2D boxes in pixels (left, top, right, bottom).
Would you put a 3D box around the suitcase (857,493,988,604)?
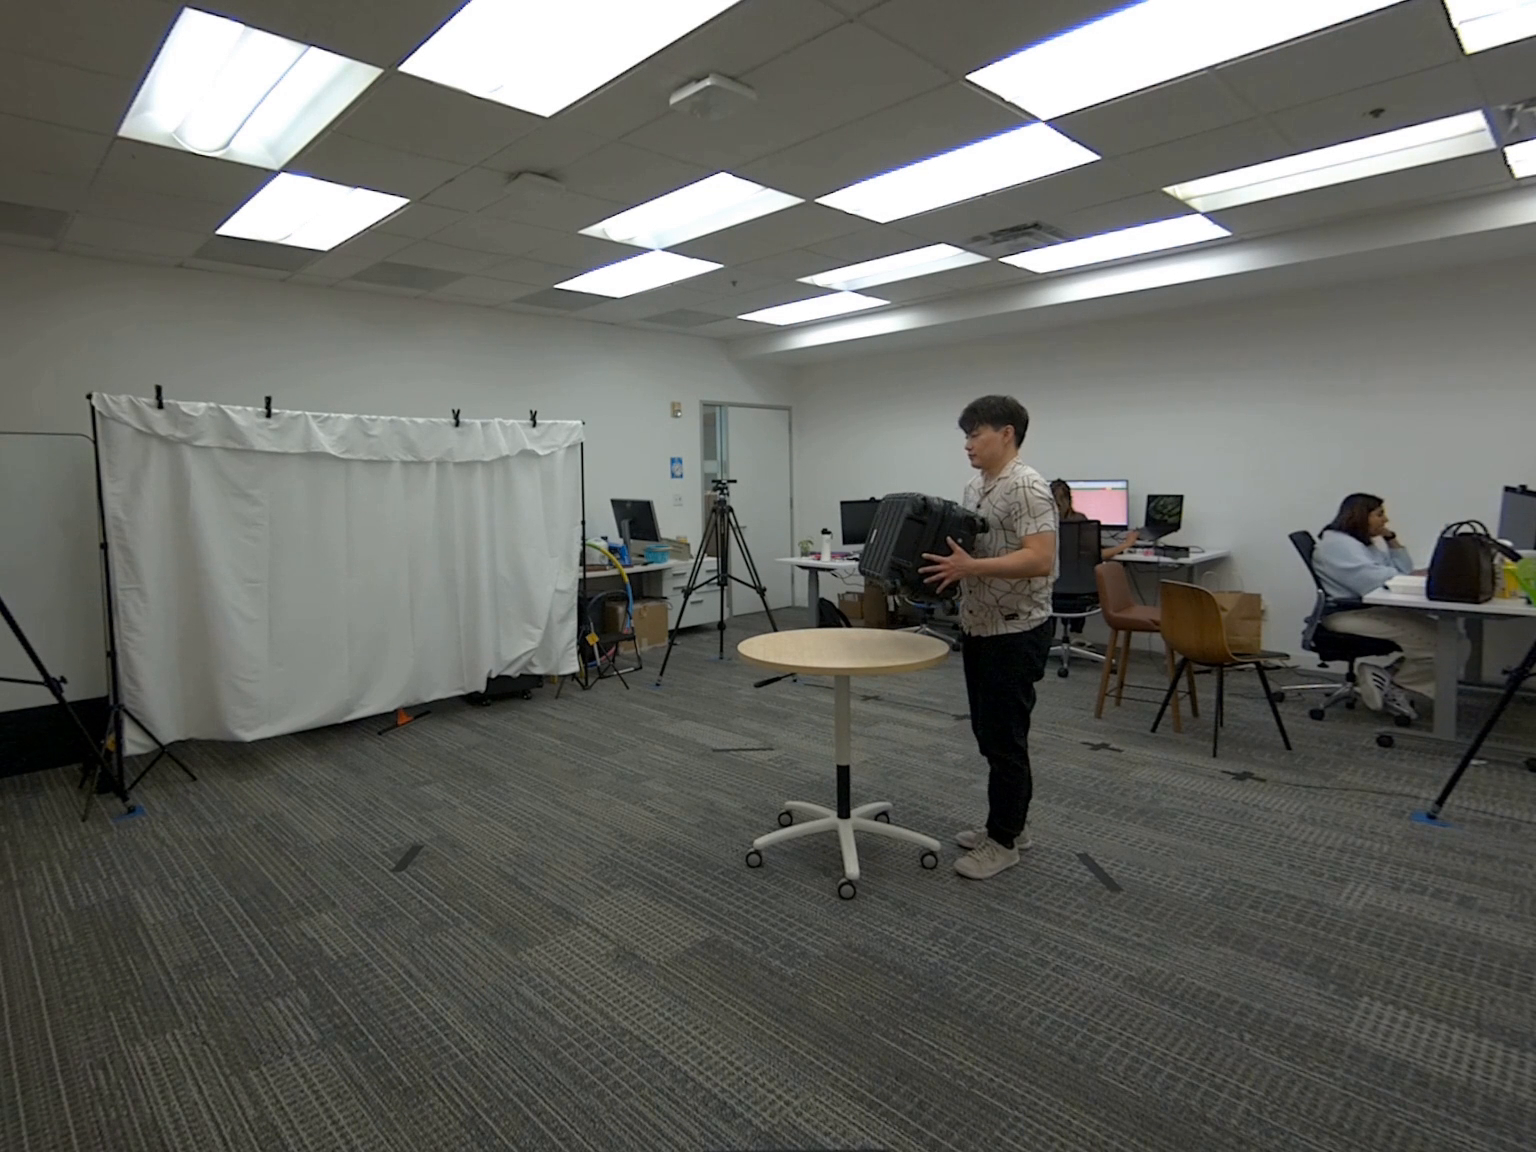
[{"bbox_3d":[0.536,-0.112,3.075,0.246,0.375,0.554,18,4,-7],"label":"suitcase"}]
